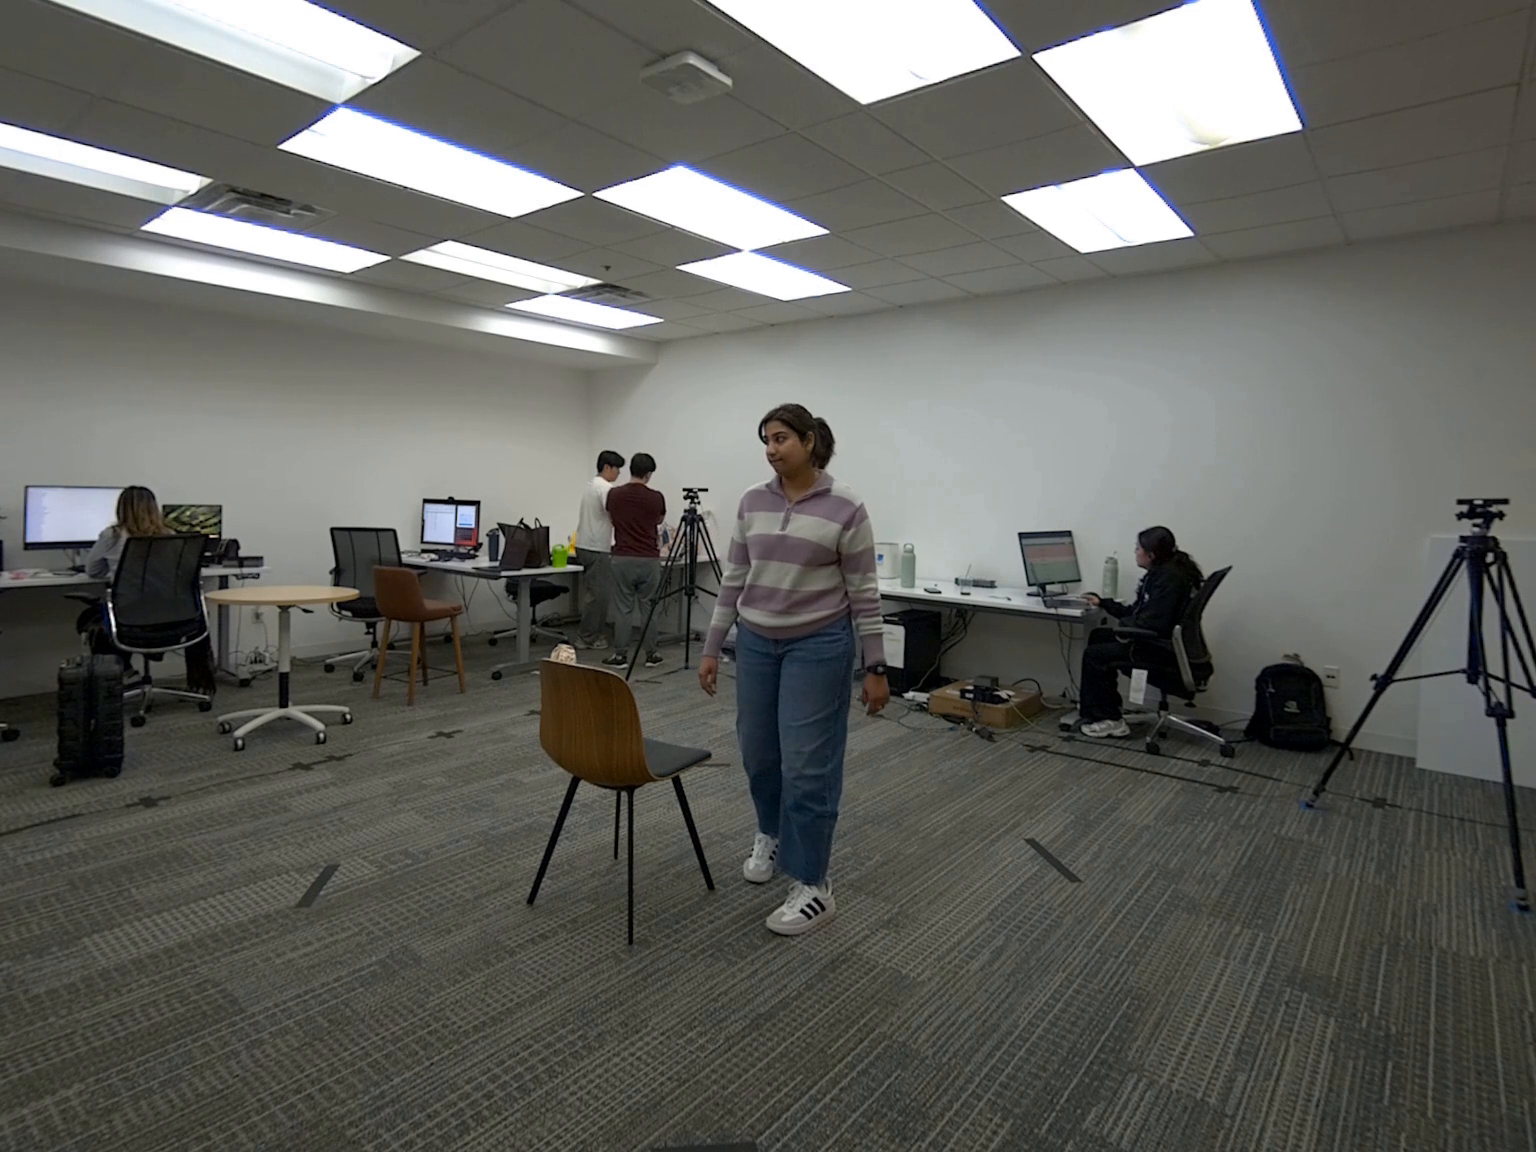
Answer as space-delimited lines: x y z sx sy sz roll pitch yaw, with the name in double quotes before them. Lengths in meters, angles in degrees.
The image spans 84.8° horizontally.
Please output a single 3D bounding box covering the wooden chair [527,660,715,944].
"wooden chair" -0.492 0.659 2.872 0.492 0.872 0.511 2 7 32
